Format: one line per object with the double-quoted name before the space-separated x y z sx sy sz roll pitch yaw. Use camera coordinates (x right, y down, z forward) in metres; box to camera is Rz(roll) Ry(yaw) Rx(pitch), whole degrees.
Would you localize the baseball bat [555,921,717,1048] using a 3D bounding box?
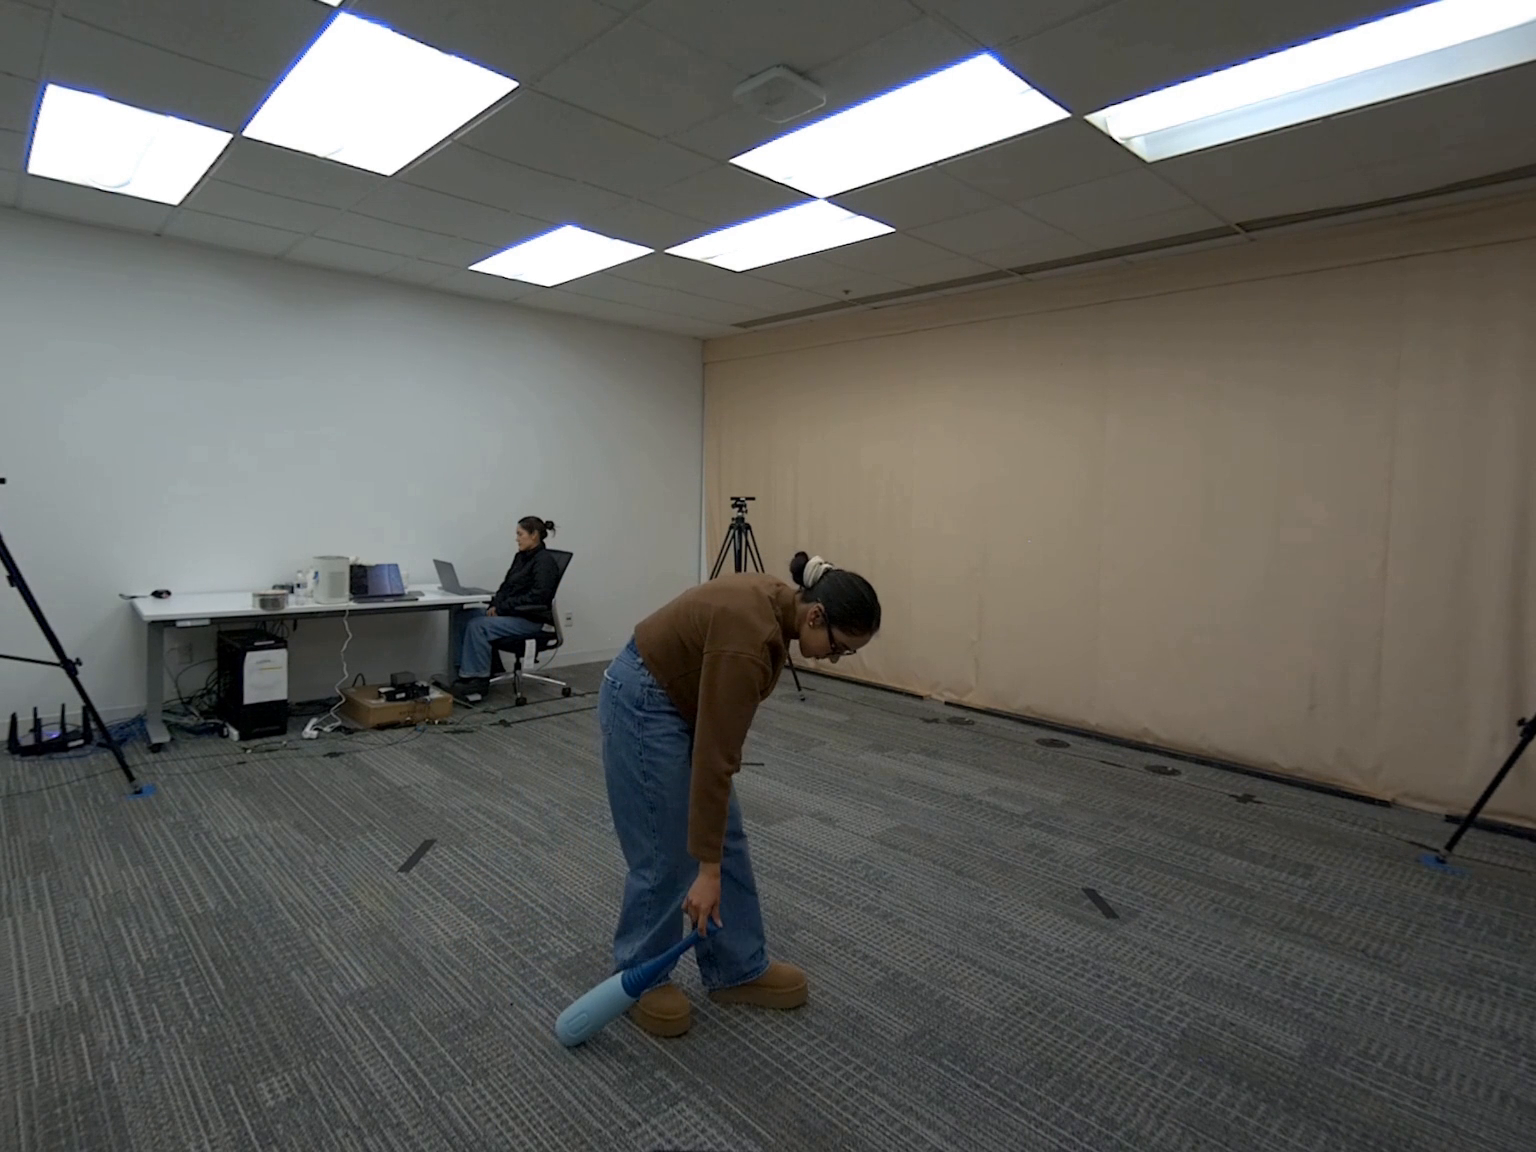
"baseball bat" -0.333 0.998 2.052 0.544 0.090 0.088 -42 -12 18
